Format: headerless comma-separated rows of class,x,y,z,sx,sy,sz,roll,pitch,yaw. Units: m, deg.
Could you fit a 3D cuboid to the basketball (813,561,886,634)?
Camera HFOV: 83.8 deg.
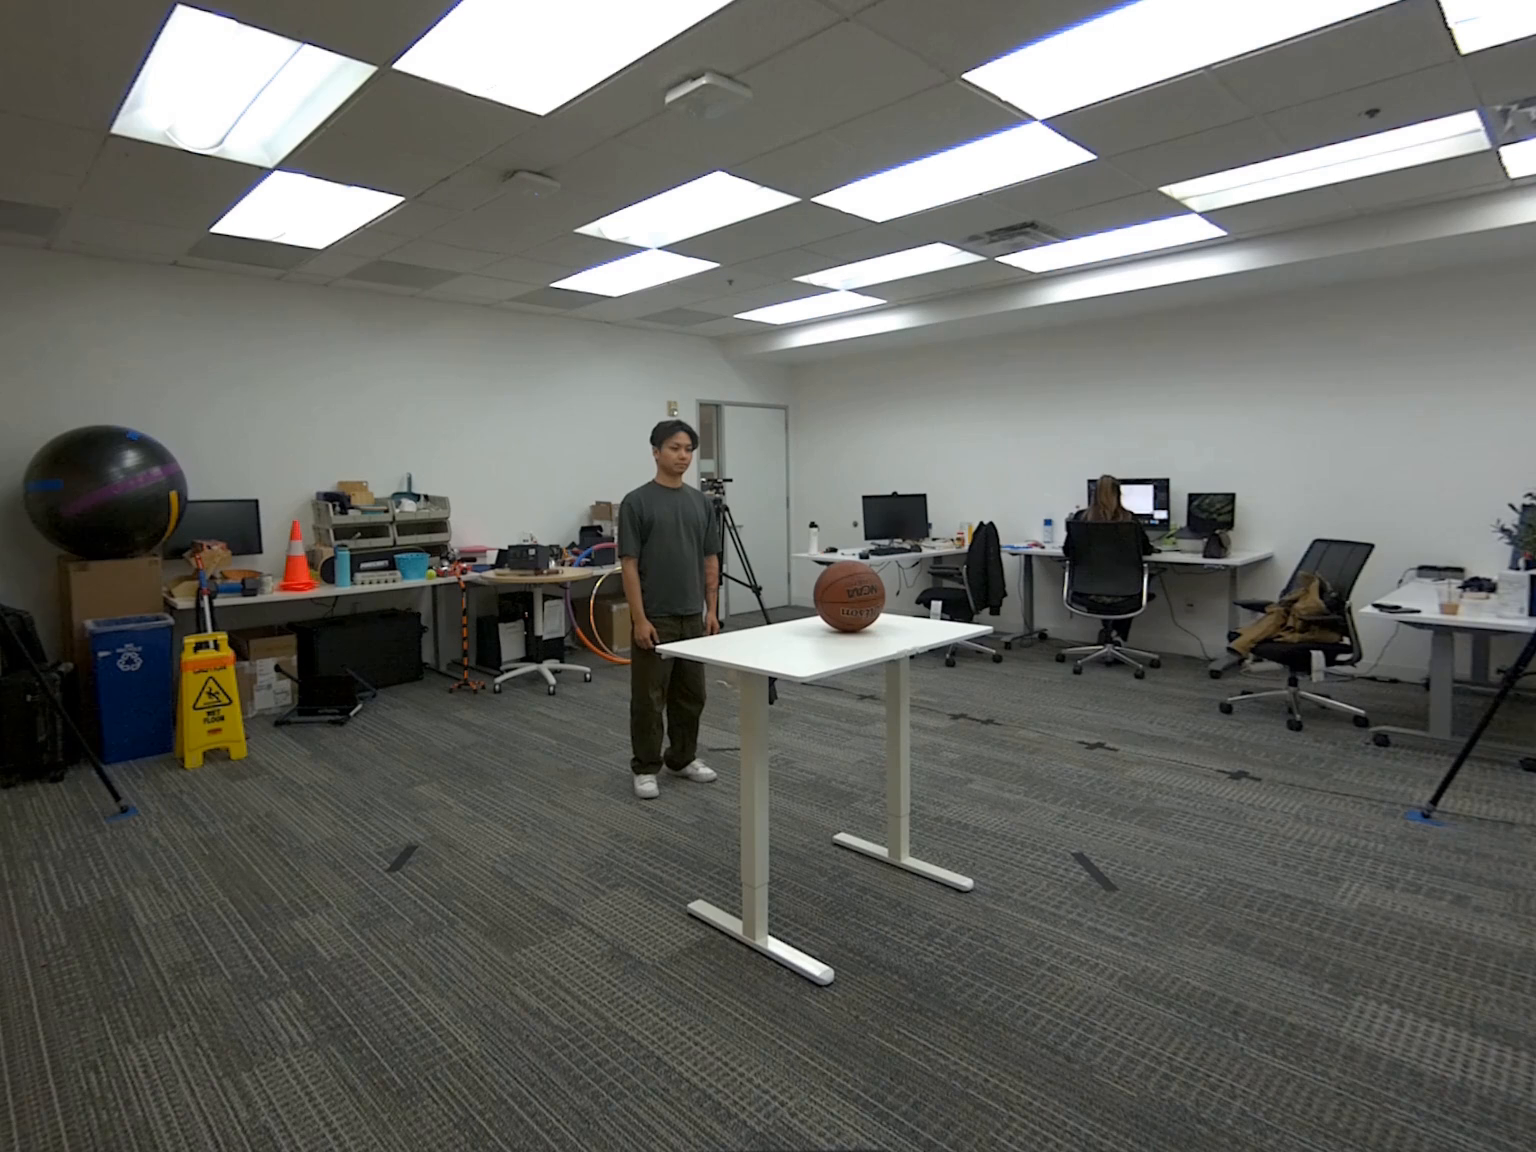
basketball,0.273,0.067,2.858,0.236,0.235,0.237,-1,5,-2
